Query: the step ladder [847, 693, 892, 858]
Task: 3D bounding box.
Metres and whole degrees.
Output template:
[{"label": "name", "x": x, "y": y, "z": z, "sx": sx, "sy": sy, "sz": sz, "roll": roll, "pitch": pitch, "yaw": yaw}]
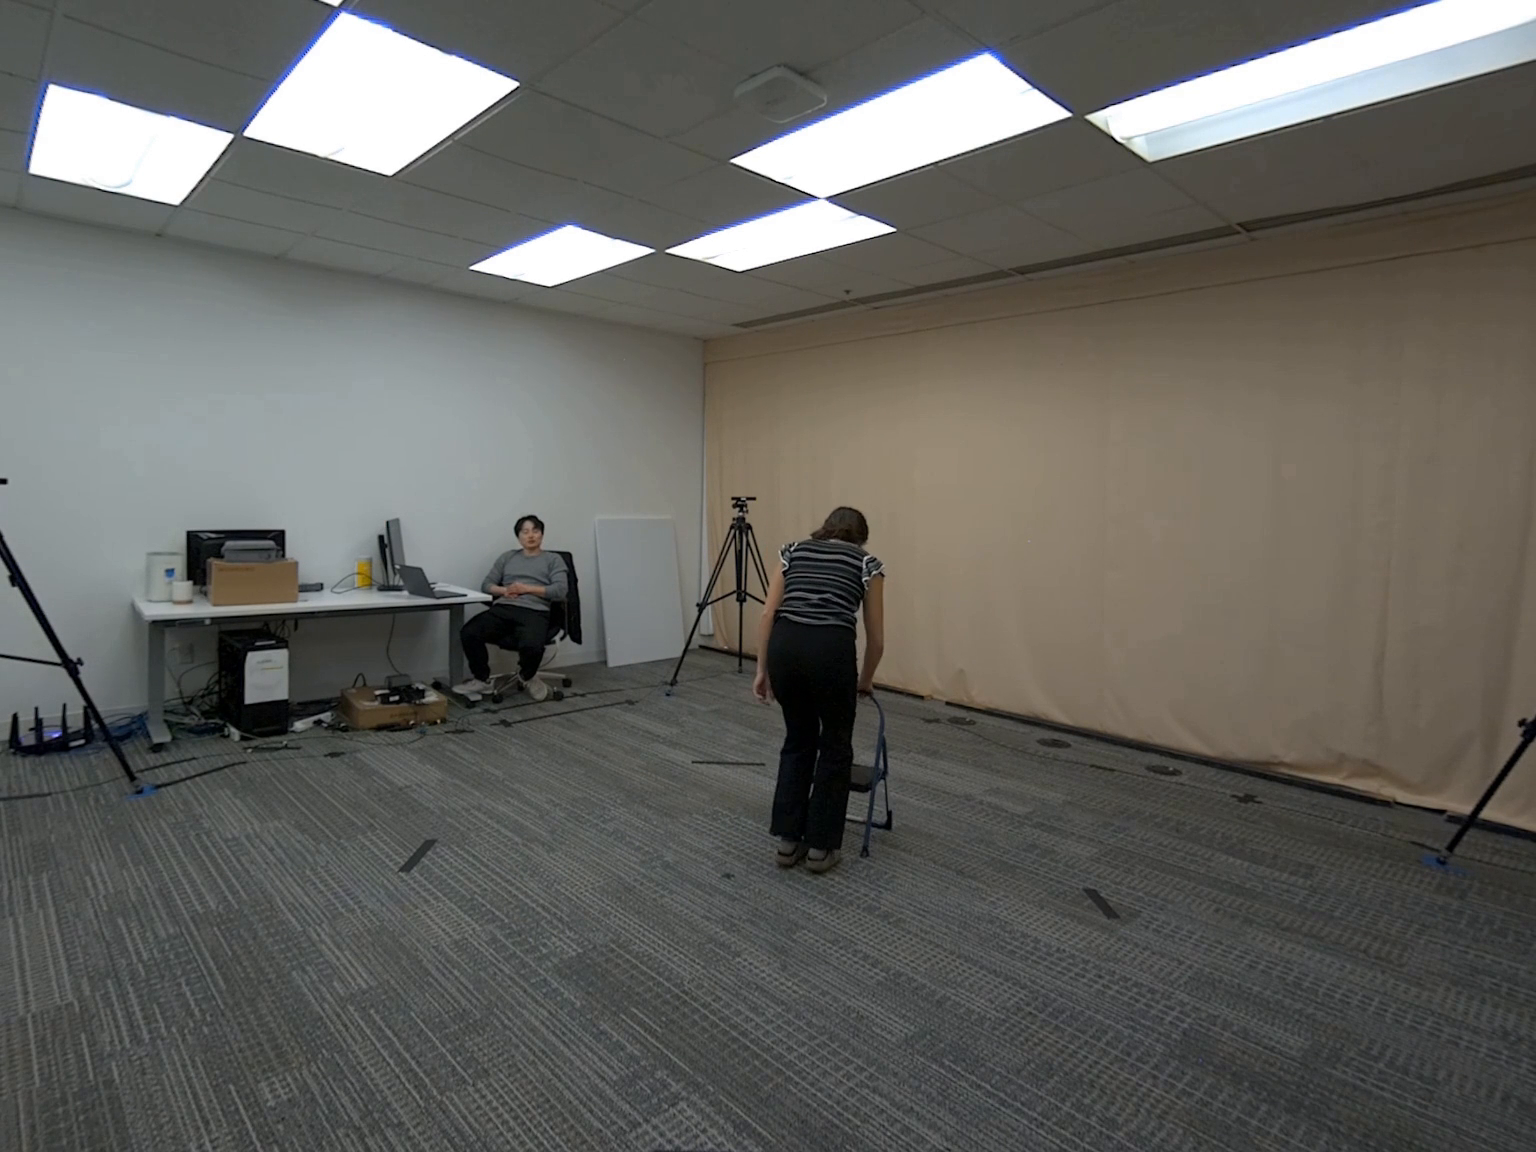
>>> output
[{"label": "step ladder", "x": 0.277, "y": 0.780, "z": 3.535, "sx": 0.440, "sy": 0.605, "sz": 0.343, "roll": 3, "pitch": 3, "yaw": 28}]
